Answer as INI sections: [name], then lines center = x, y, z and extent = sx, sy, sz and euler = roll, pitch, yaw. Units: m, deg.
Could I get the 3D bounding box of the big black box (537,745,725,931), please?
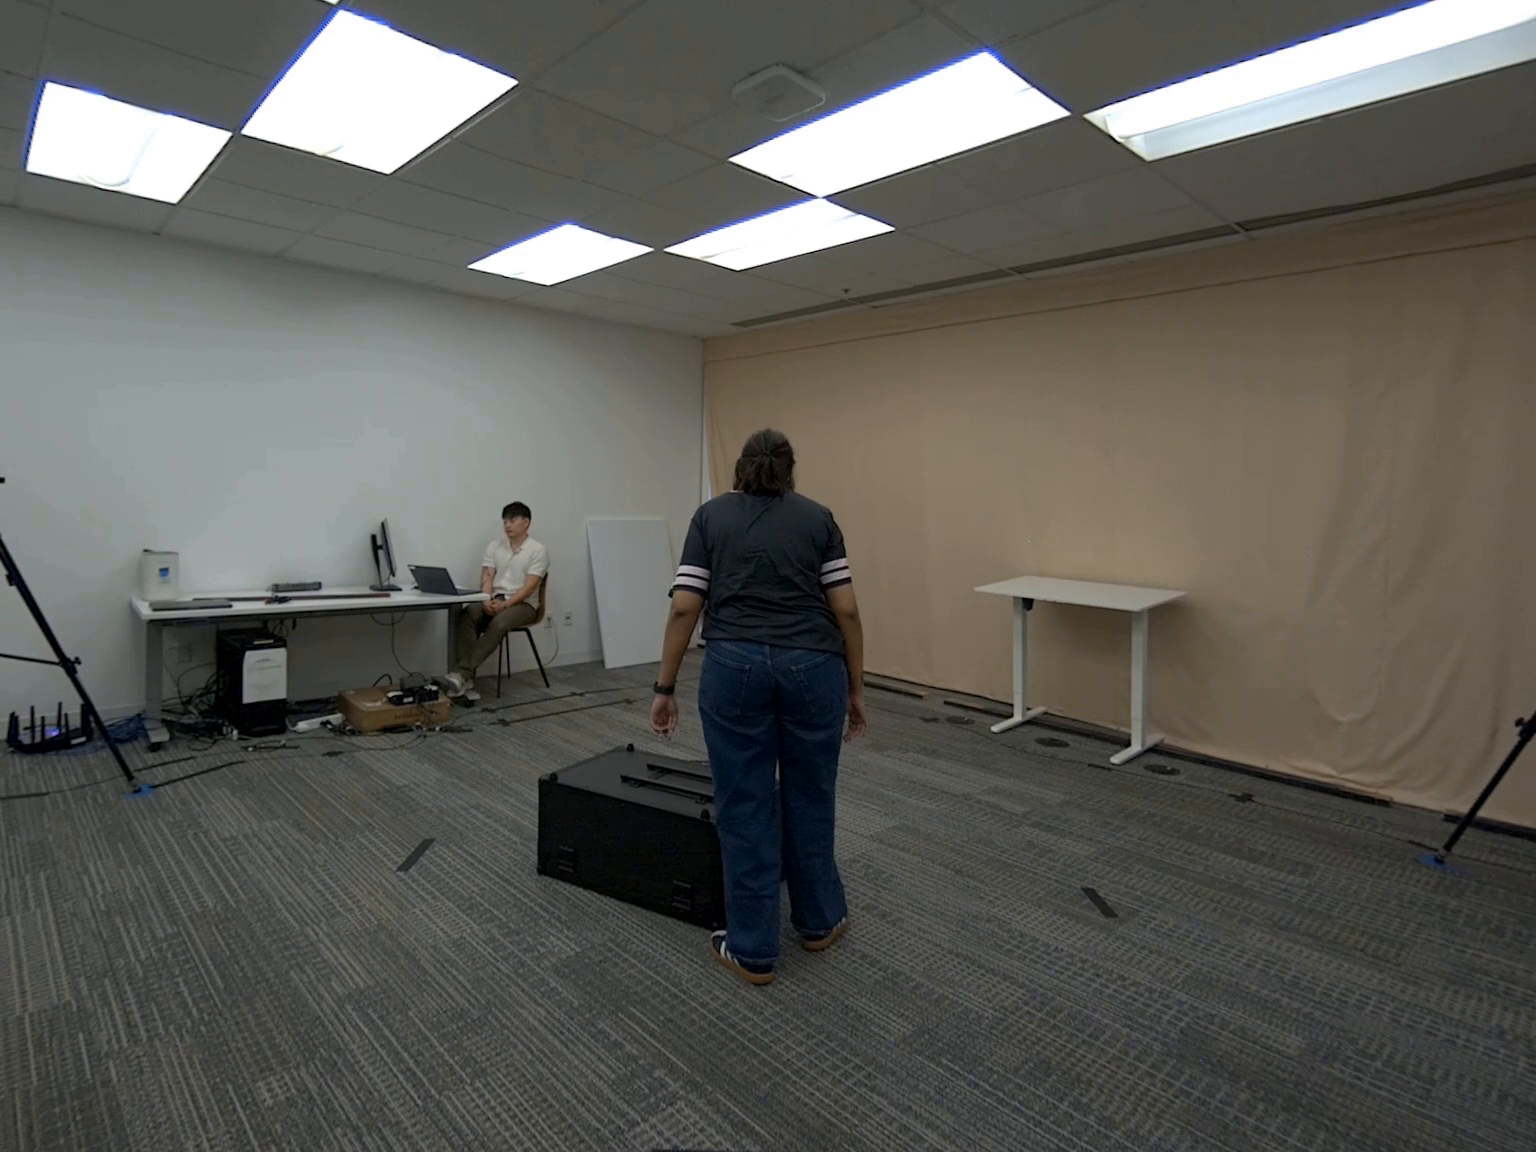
[big black box]
center = -0.425, 0.914, 3.088
extent = 0.887, 0.384, 0.514
euler = 4, 6, 29
